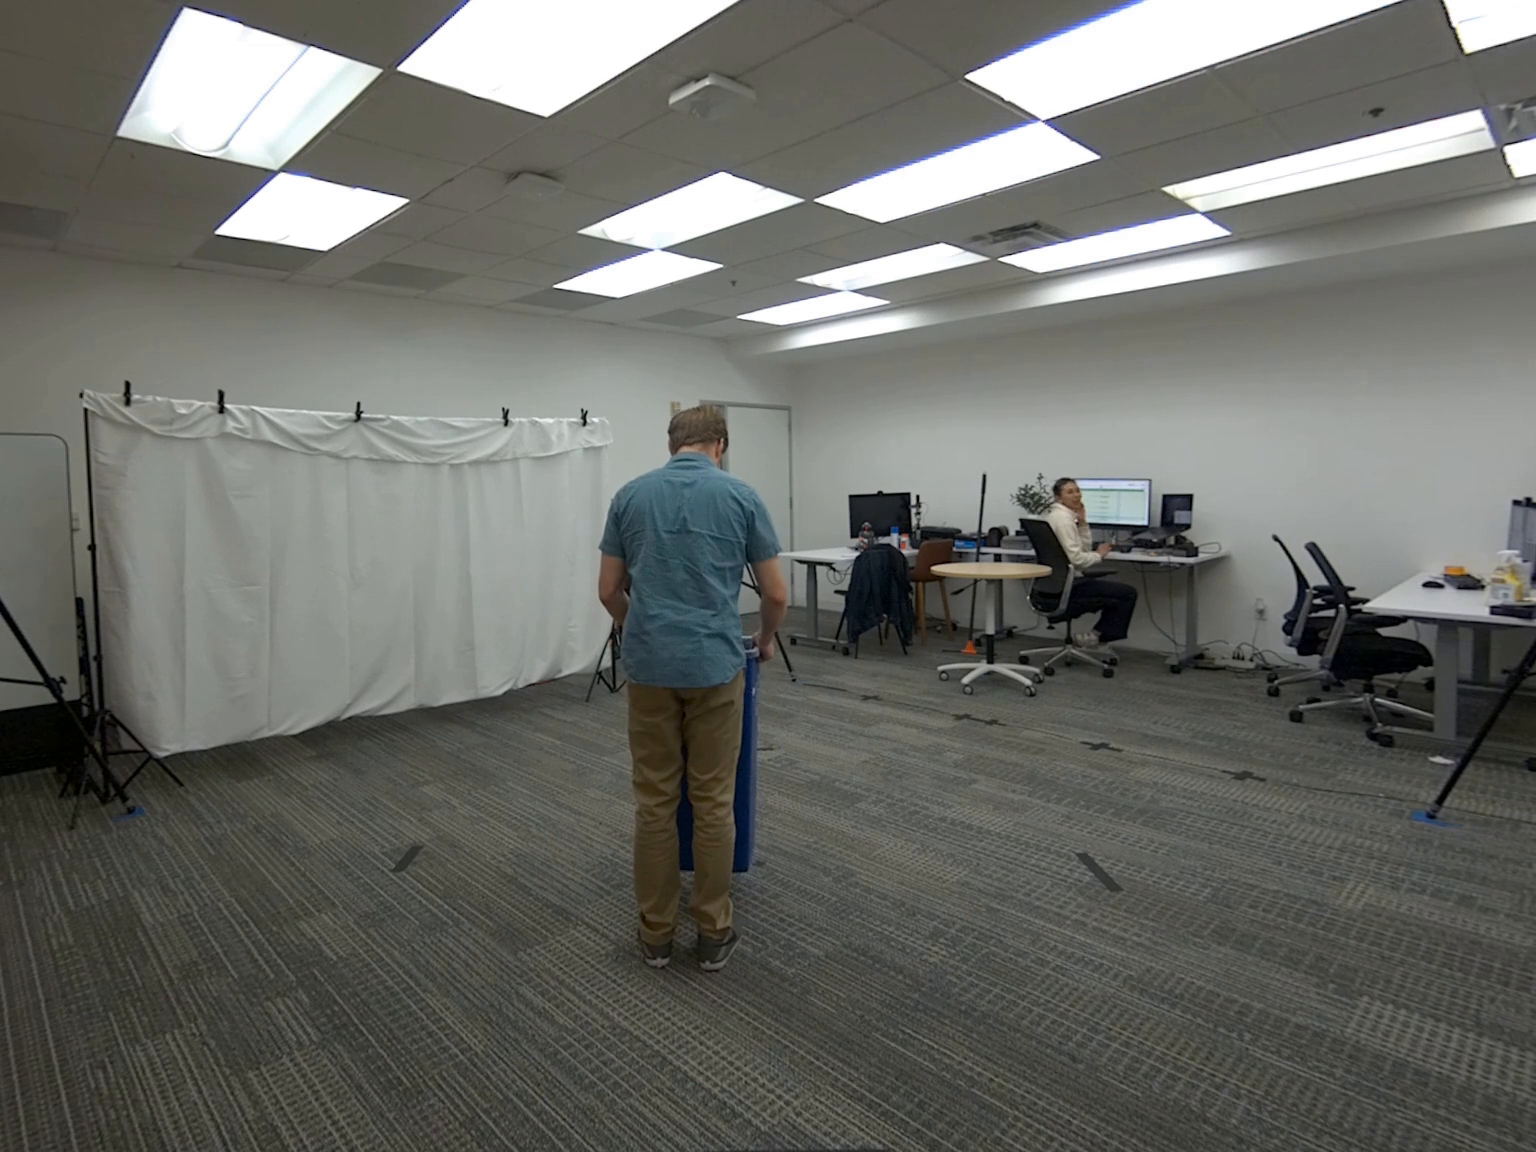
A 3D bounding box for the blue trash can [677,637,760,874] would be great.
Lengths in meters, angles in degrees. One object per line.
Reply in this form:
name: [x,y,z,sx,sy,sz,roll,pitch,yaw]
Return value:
blue trash can: [-0.194,0.594,2.878,0.376,0.713,0.377,-1,2,4]
